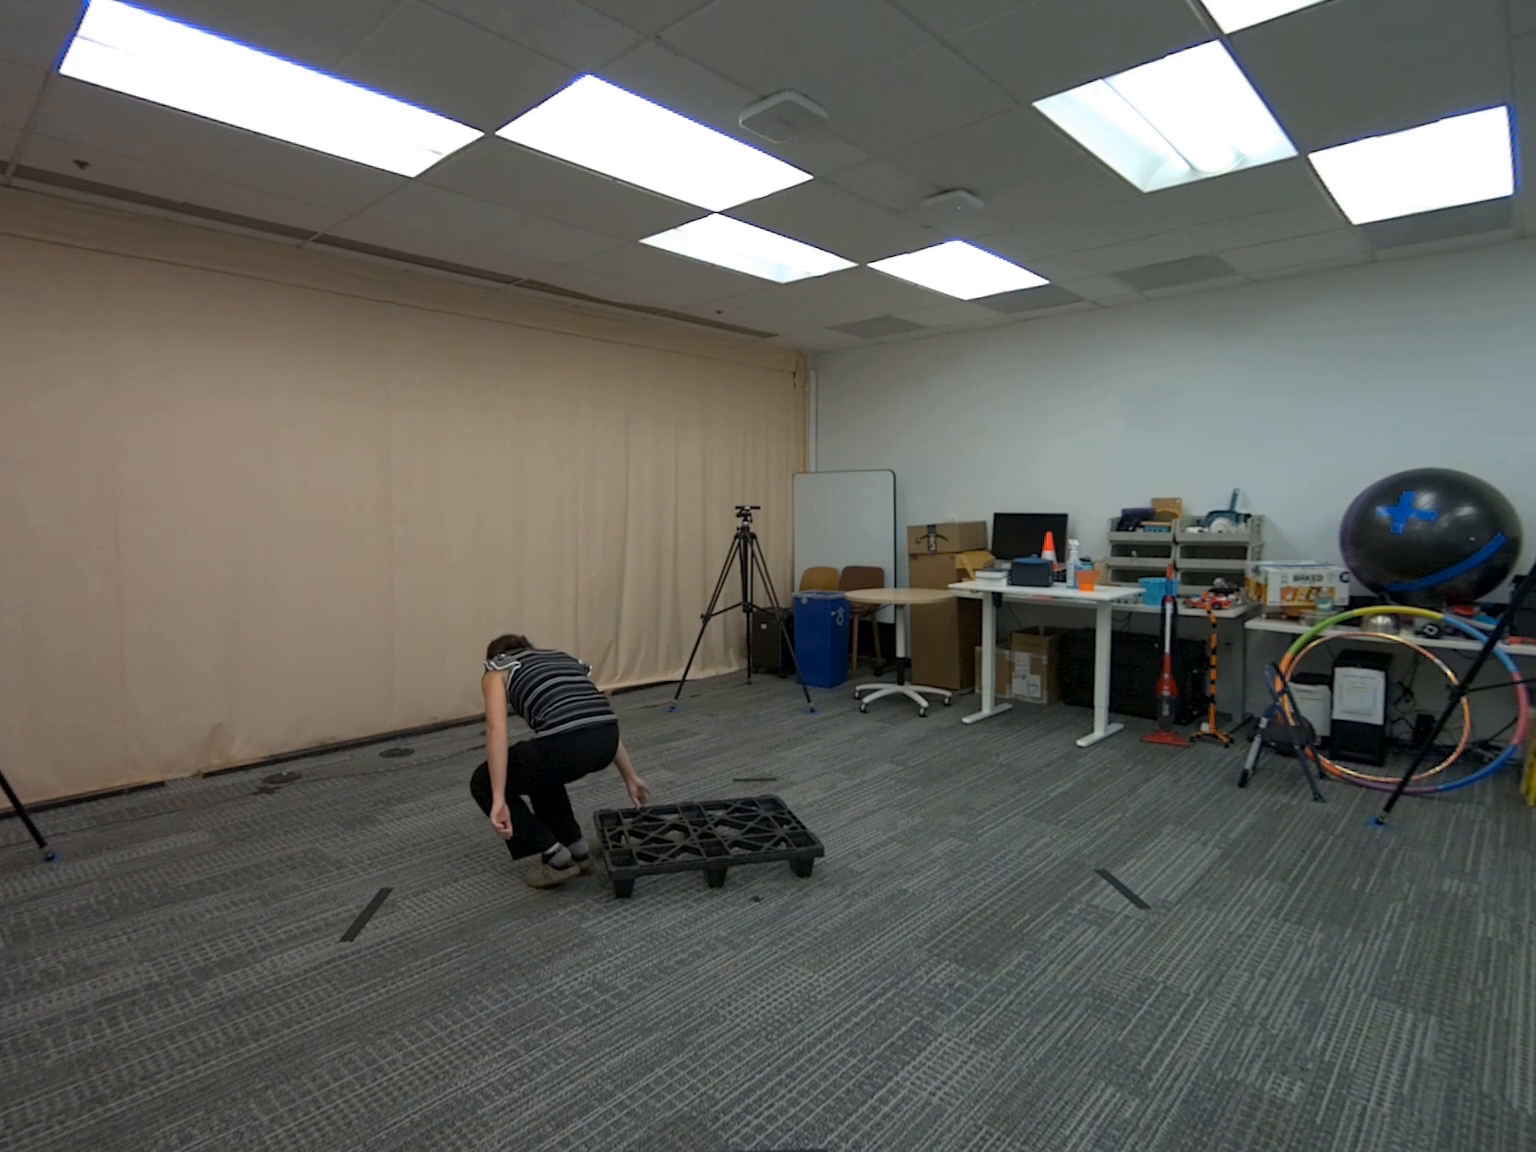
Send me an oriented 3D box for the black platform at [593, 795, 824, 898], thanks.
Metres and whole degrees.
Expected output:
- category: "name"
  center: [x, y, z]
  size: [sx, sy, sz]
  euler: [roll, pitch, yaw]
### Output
- category: "black platform"
  center: [-0.256, 1.051, 3.294]
  size: [0.793, 0.143, 0.616]
  euler: [-2, 4, -15]
